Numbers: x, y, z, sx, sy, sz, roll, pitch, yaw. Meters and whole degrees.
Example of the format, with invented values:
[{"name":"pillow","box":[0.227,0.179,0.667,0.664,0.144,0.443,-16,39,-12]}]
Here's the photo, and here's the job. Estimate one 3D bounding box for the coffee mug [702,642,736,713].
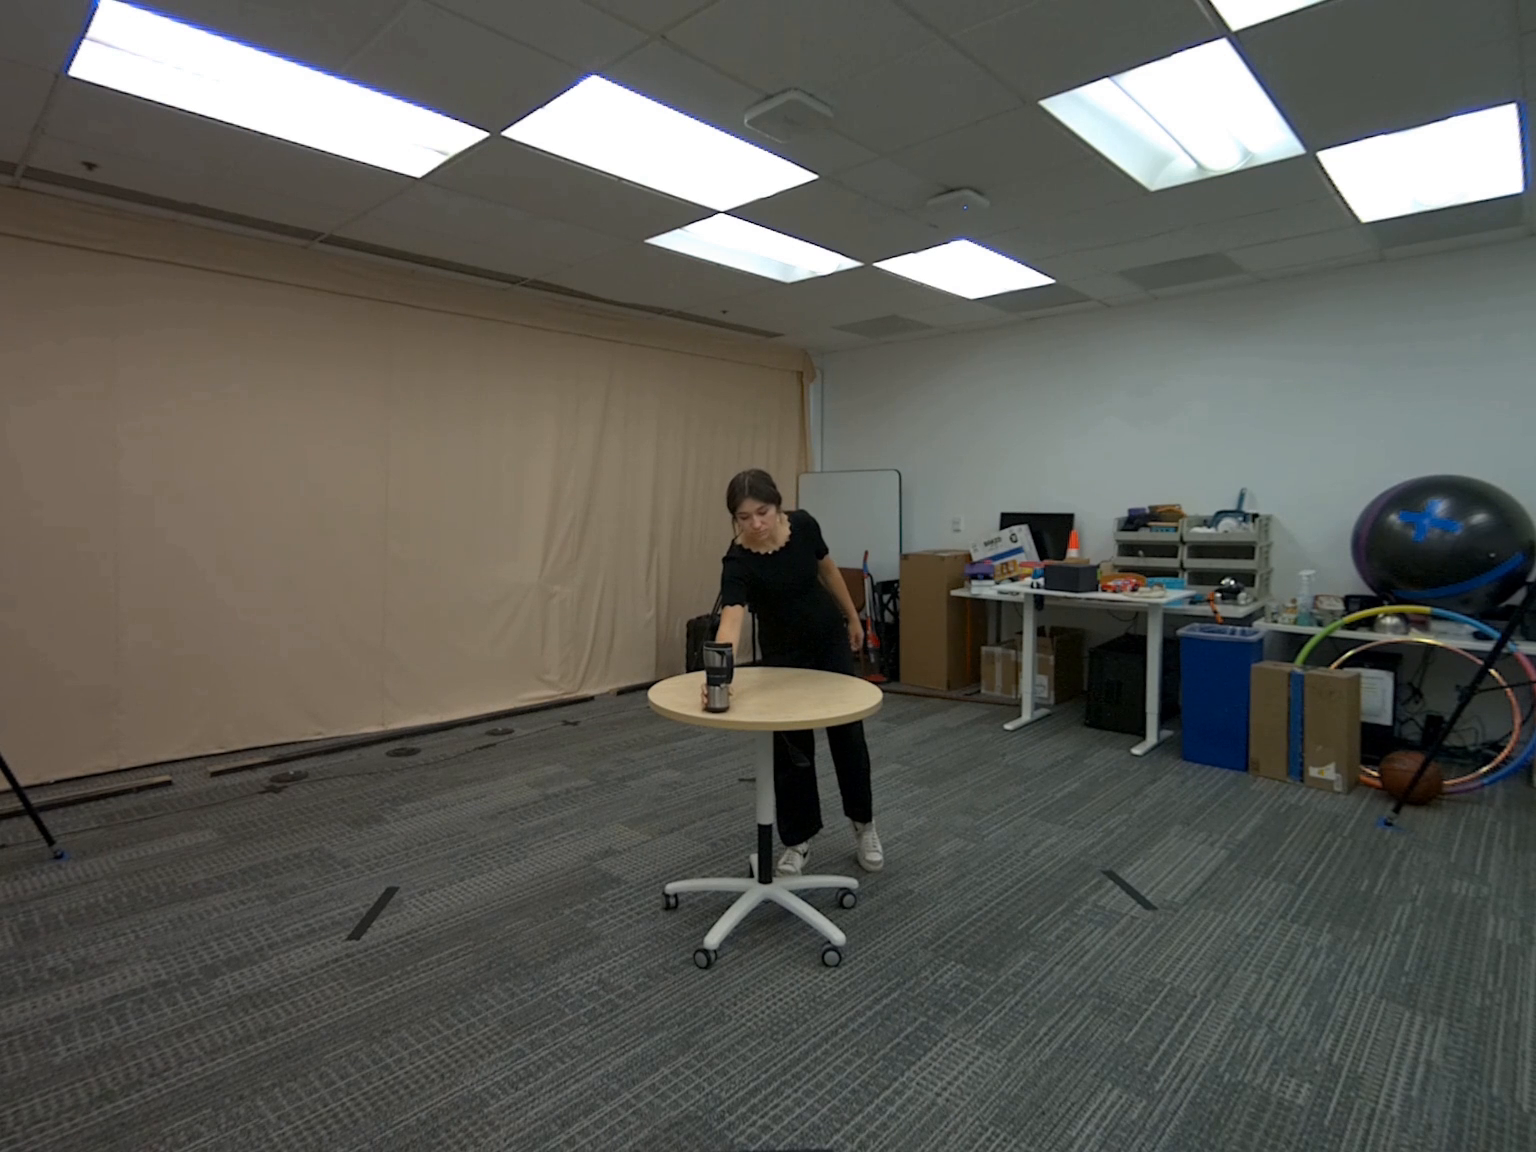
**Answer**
[{"name":"coffee mug","box":[-0.148,0.295,2.497,0.088,0.203,0.121,0,-1,7]}]
